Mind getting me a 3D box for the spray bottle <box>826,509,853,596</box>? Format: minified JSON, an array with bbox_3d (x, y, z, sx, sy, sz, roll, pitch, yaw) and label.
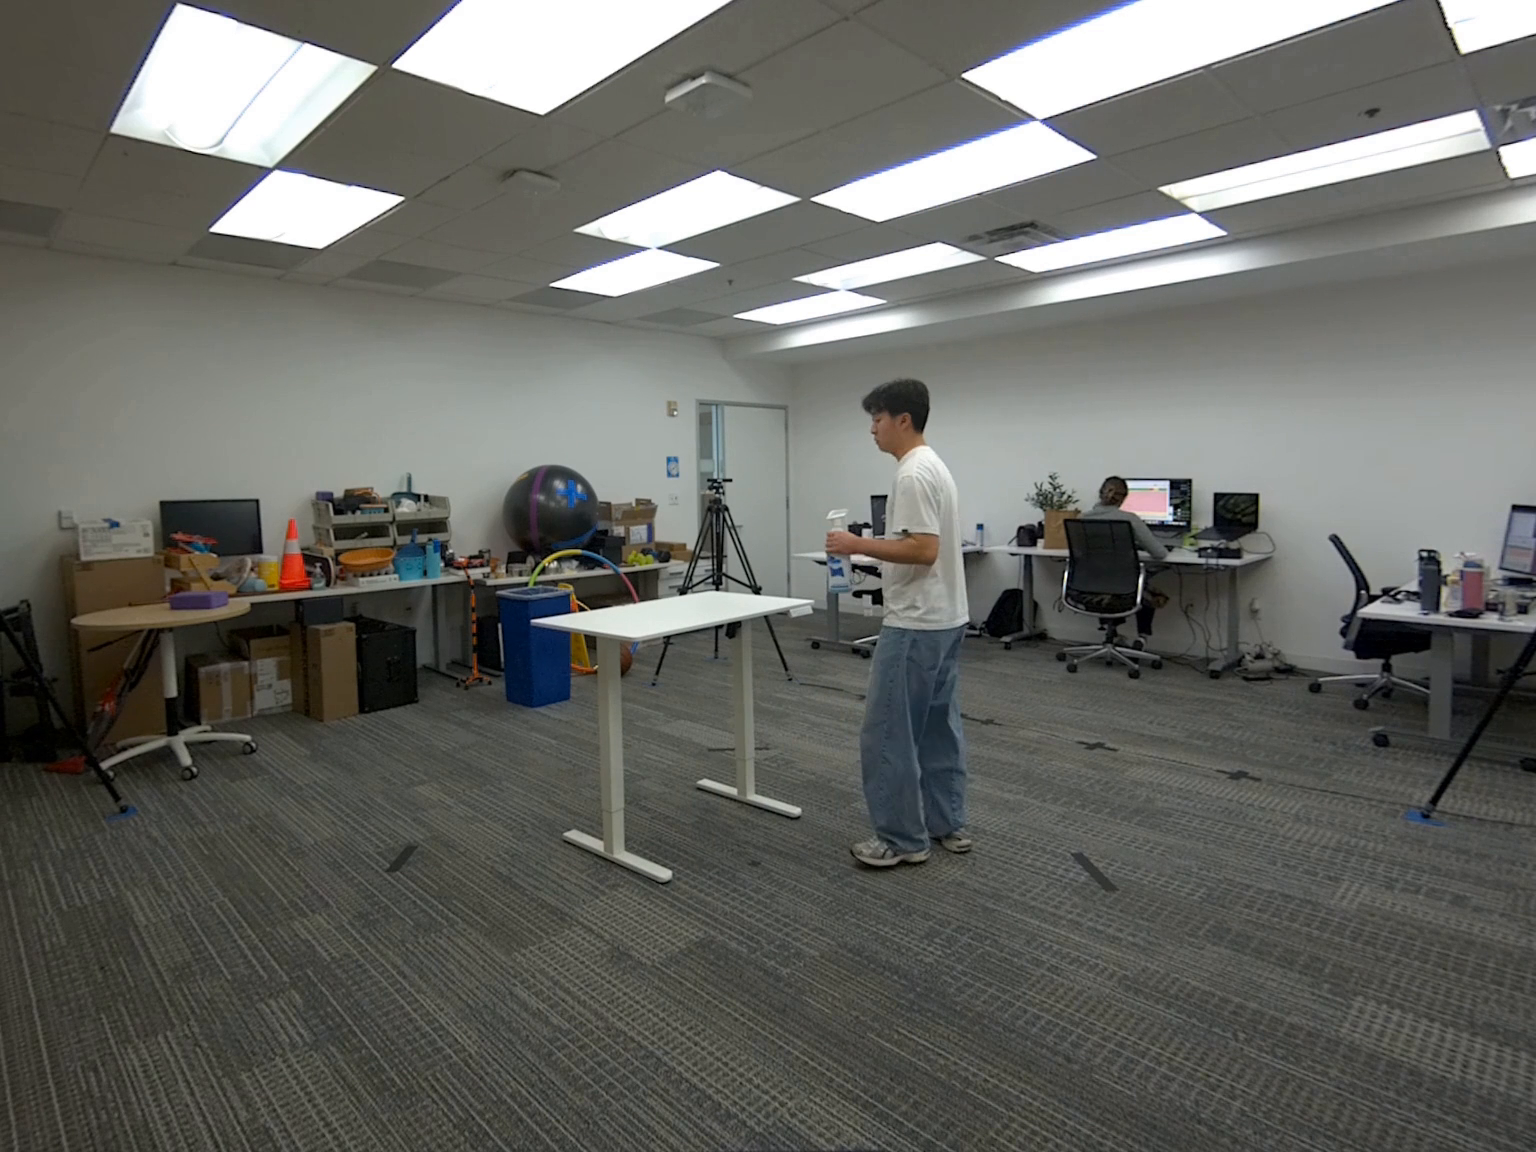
[{"bbox_3d":[0.266,-0.089,3.066,0.090,0.297,0.087,-3,2,-2],"label":"spray bottle"}]
